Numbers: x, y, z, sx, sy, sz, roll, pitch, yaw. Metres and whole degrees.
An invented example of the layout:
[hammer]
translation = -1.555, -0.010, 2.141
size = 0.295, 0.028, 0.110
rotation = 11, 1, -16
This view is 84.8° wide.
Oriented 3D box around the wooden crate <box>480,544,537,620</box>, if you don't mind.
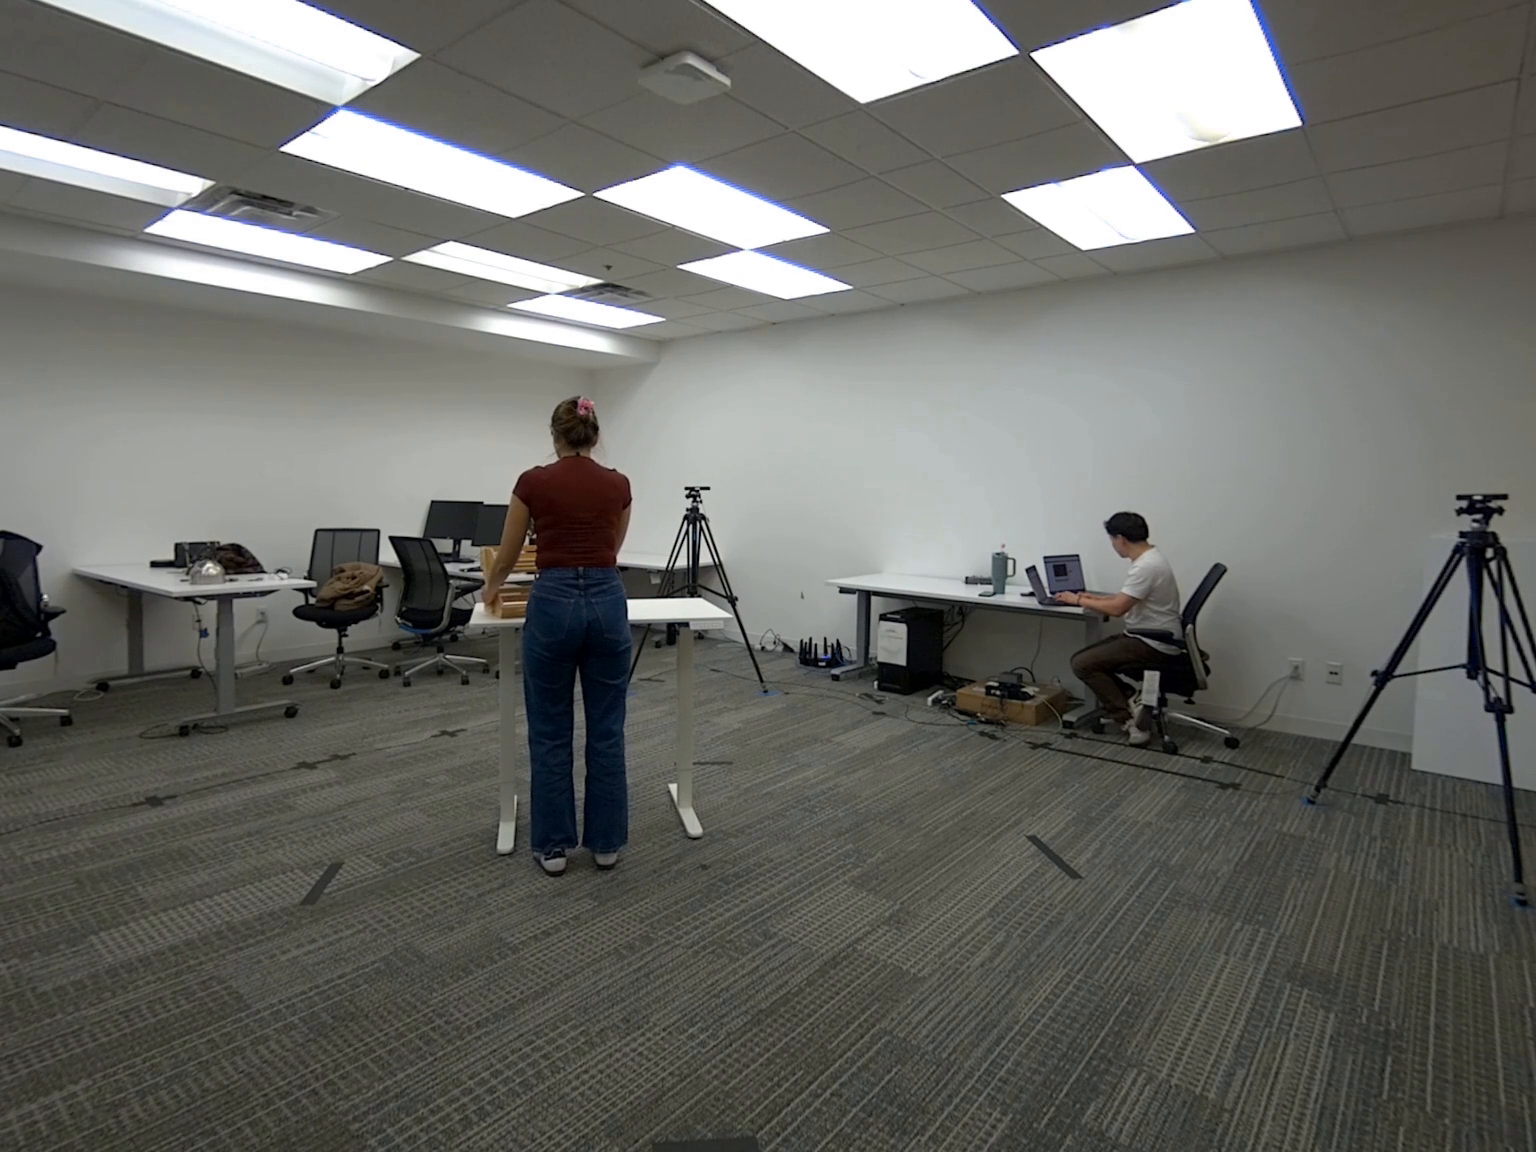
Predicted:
[wooden crate]
translation = -0.983, 0.011, 3.426
size = 0.315, 0.273, 0.311
rotation = -2, 4, -33
